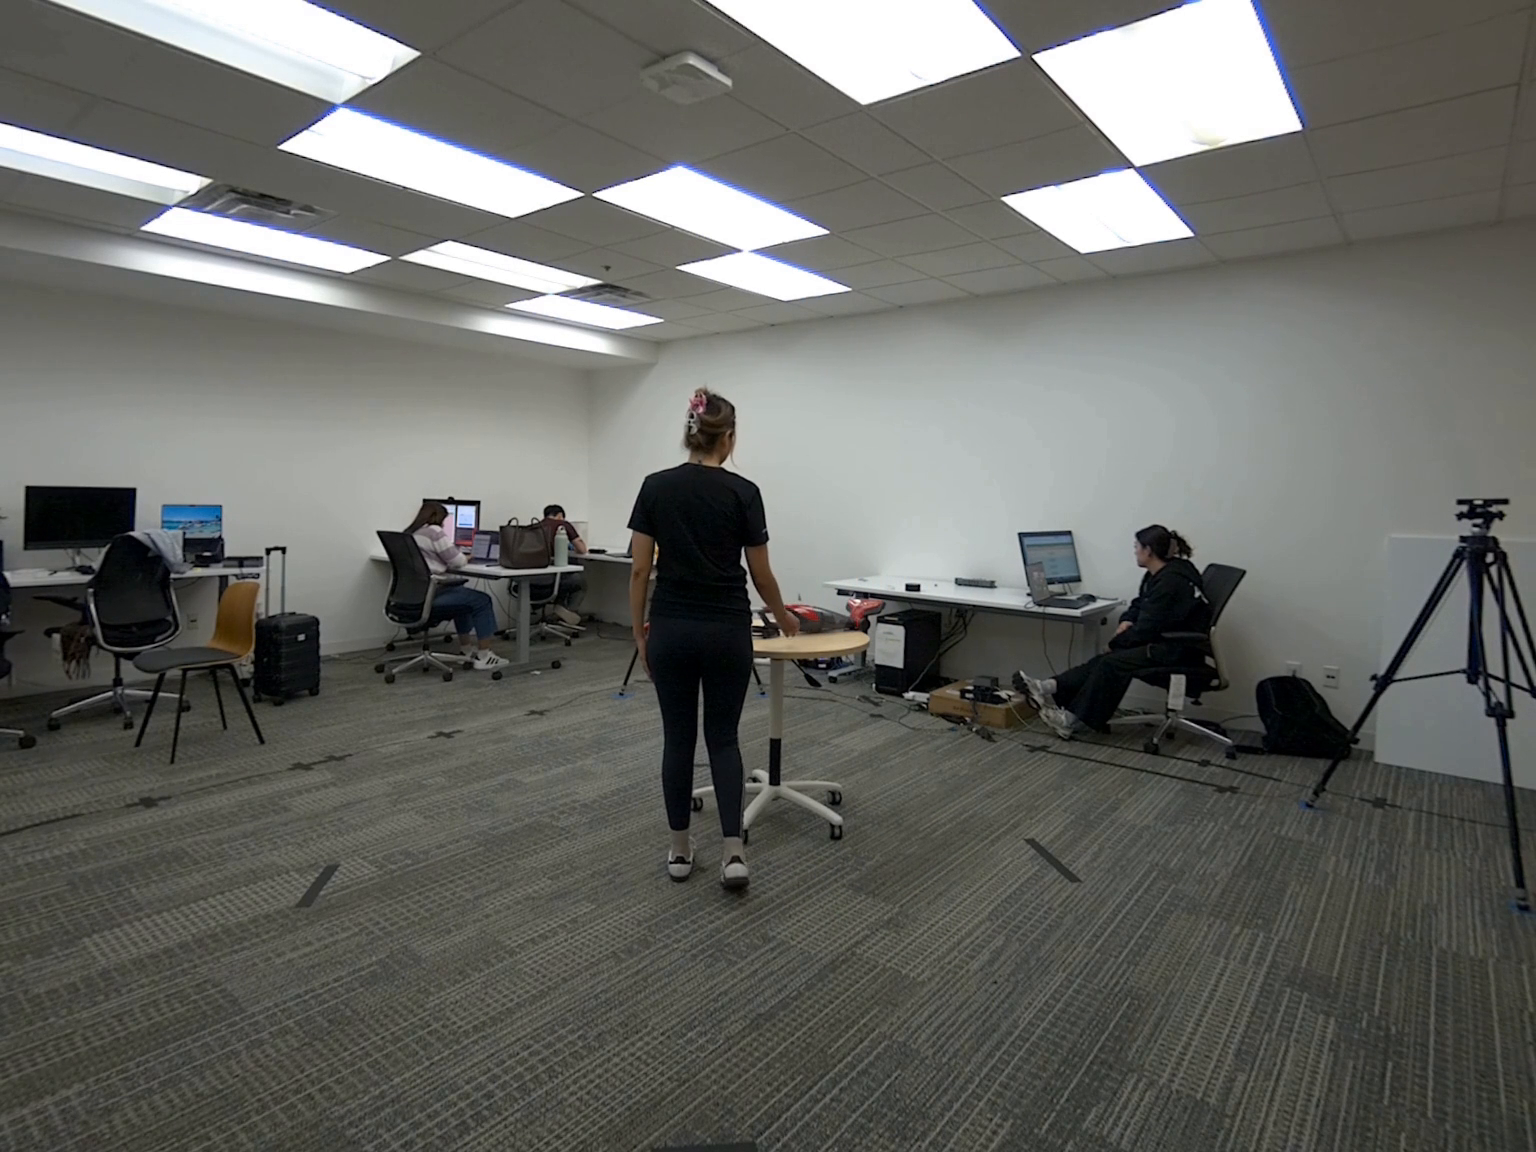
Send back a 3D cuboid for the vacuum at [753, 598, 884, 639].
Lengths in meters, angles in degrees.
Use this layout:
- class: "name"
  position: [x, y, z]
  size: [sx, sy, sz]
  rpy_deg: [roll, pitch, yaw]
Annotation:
- class: "vacuum"
  position: [-0.030, 0.199, 3.547]
  size: [1.024, 0.144, 0.259]
  rpy_deg: [-4, 2, -27]
